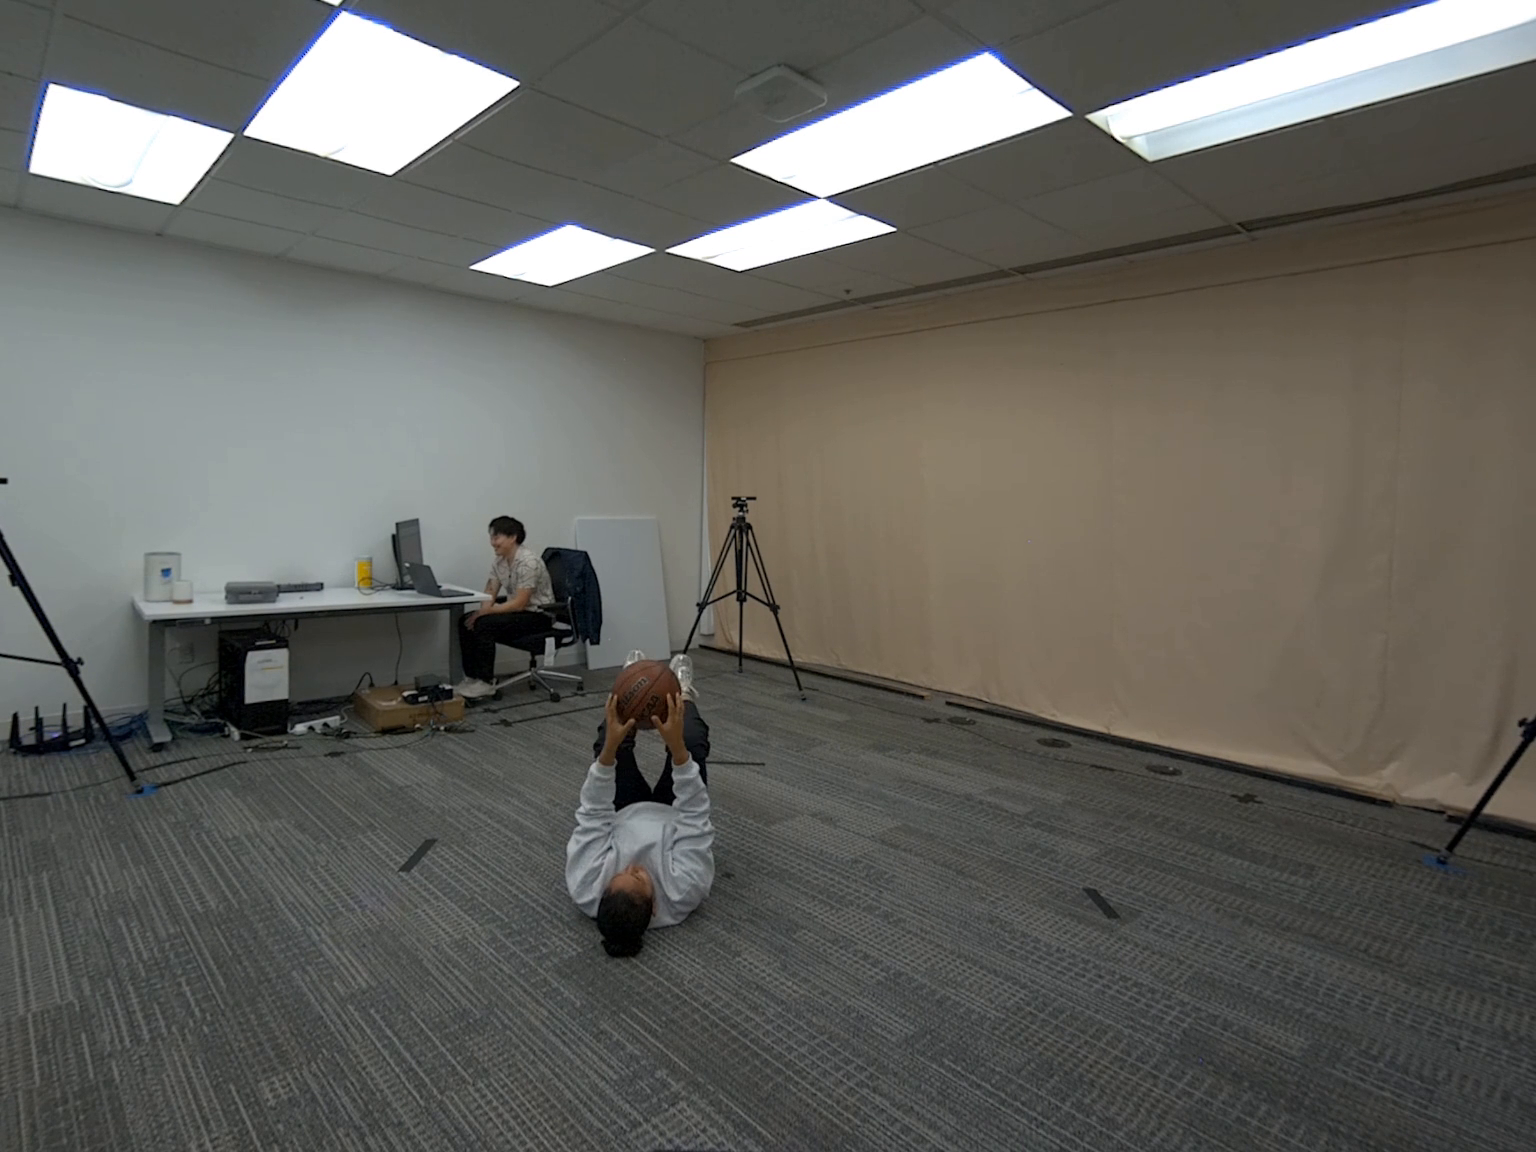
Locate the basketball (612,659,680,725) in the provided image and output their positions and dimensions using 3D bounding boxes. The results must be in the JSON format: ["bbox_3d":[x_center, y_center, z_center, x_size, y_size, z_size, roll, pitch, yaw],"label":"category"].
[{"bbox_3d":[-0.419,0.420,2.874,0.236,0.235,0.237,1,4,-1],"label":"basketball"}]
